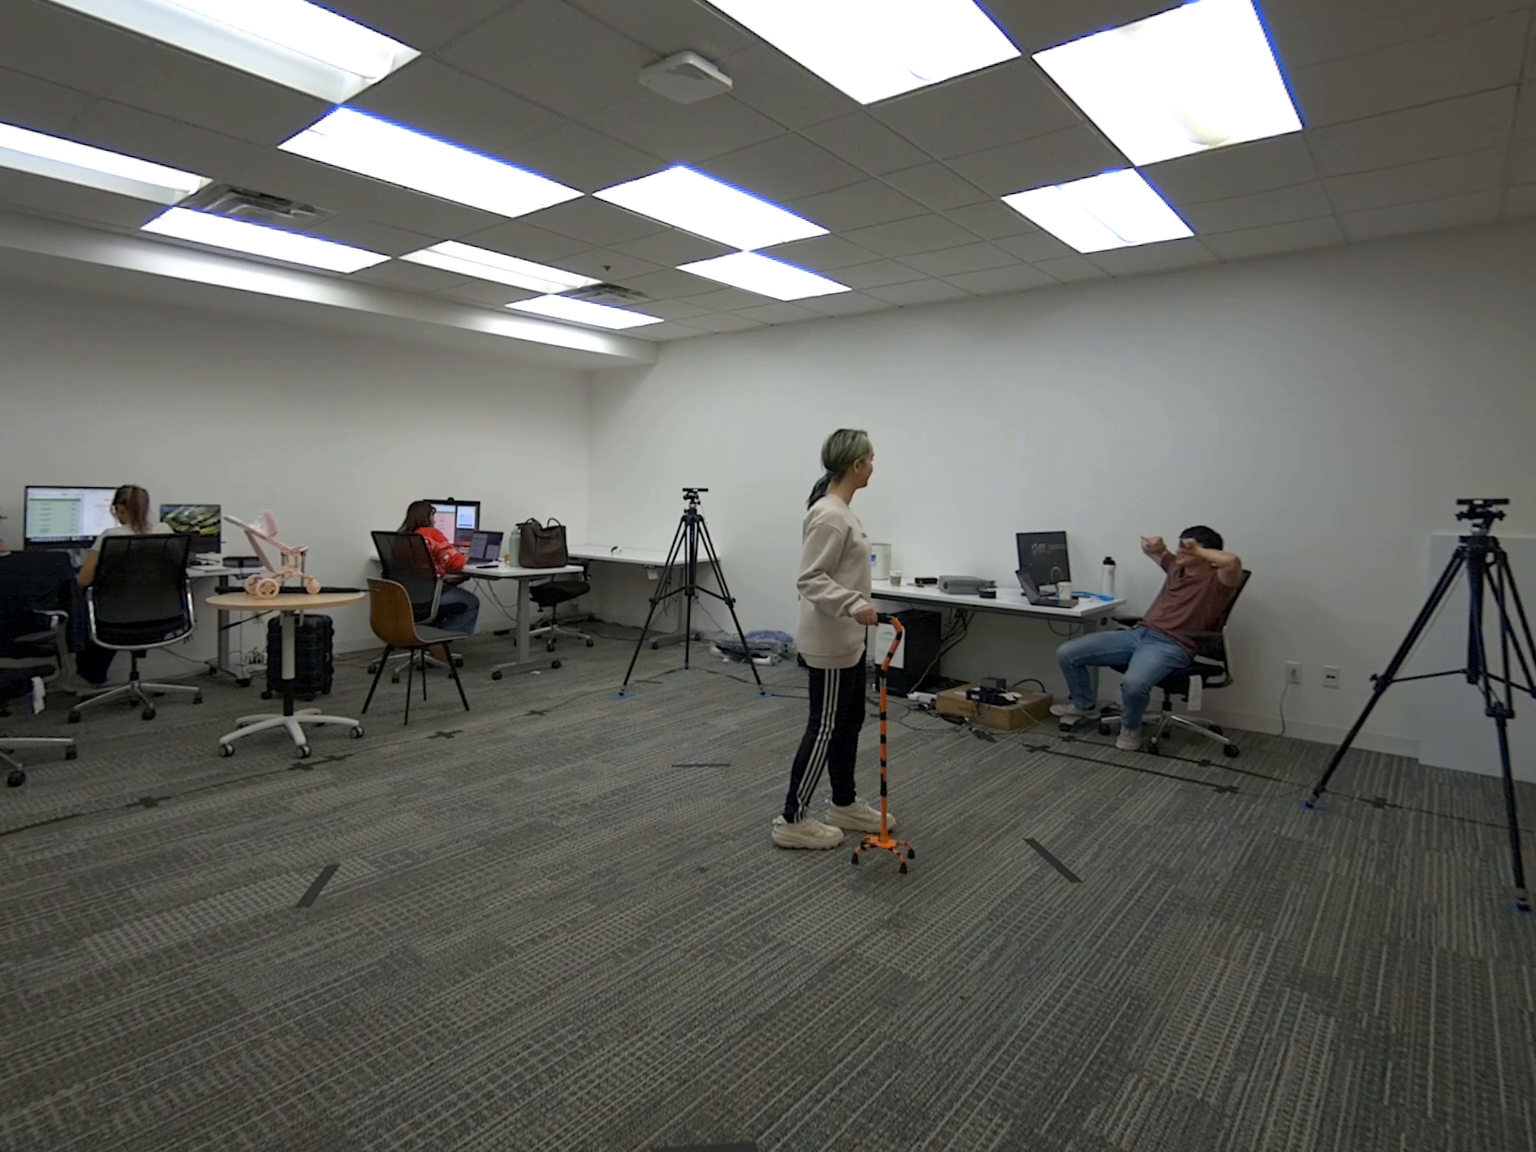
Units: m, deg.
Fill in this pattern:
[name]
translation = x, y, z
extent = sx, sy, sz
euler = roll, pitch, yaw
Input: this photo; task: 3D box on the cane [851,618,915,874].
[cane]
translation = 0.403, 0.589, 3.067
extent = 0.211, 0.904, 0.149
euler = 1, 5, 20
